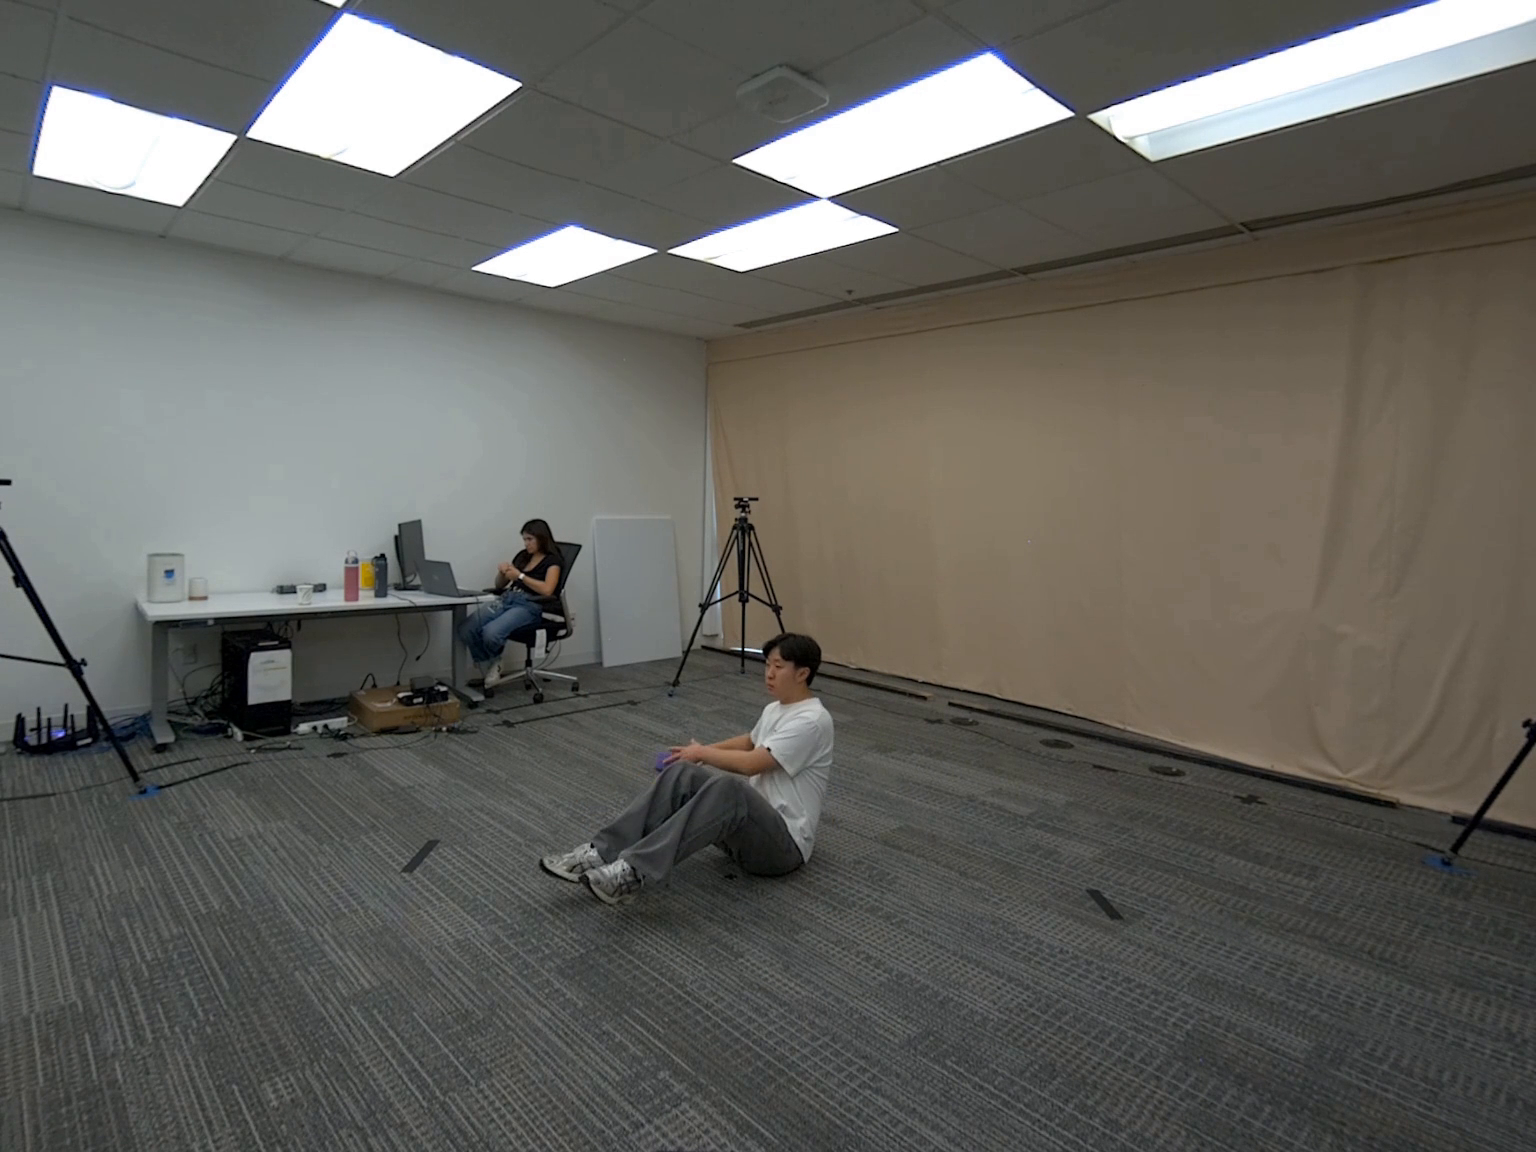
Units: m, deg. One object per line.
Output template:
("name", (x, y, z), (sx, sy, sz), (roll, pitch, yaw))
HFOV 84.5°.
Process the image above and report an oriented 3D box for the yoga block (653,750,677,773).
("yoga block", (-0.373, 0.810, 3.483), (0.150, 0.077, 0.224), (7, -27, 8))
